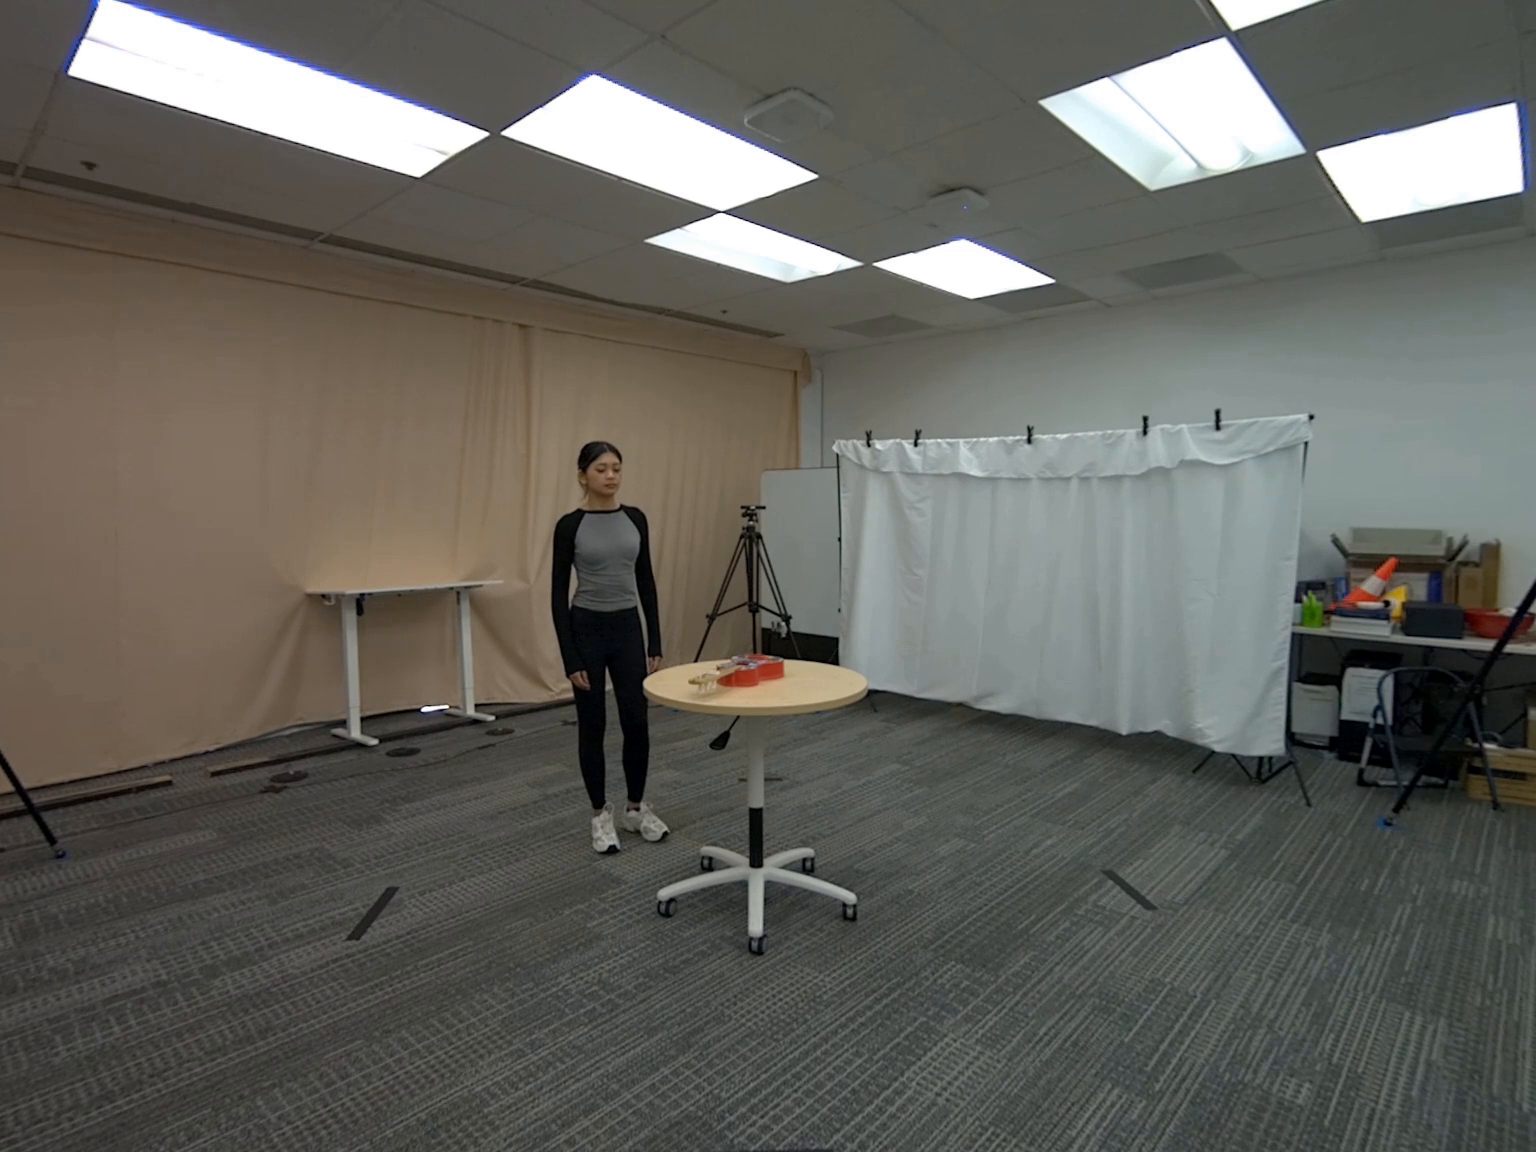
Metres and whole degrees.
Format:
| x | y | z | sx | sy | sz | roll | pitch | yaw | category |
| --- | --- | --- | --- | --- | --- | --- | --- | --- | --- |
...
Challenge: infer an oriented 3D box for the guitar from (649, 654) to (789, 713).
| x | y | z | sx | sy | sz | roll | pitch | yaw | category |
| --- | --- | --- | --- | --- | --- | --- | --- | --- | --- |
| -0.134 | 0.334 | 2.830 | 0.199 | 0.070 | 0.484 | 2 | 5 | 35 | guitar |
